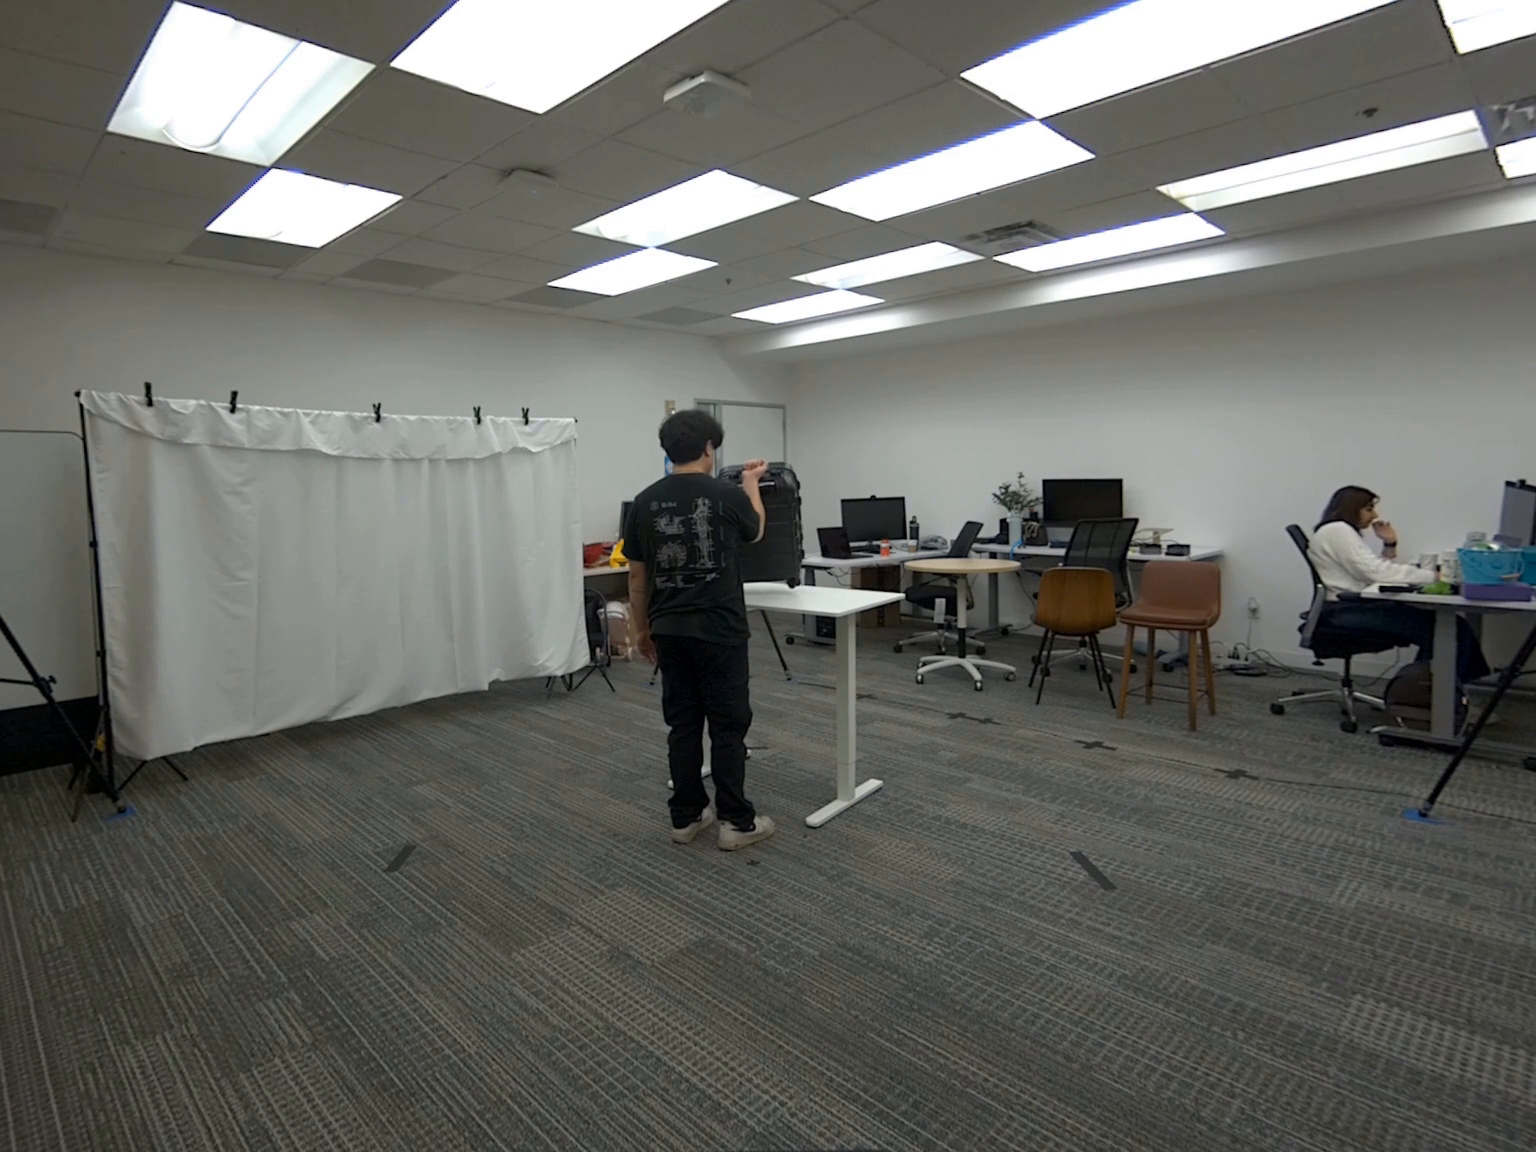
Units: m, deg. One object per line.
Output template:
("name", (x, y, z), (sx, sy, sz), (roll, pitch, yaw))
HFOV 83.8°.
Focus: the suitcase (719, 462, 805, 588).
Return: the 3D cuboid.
("suitcase", (-0.030, -0.224, 3.772), (0.377, 0.536, 0.253), (-2, 28, 5))
